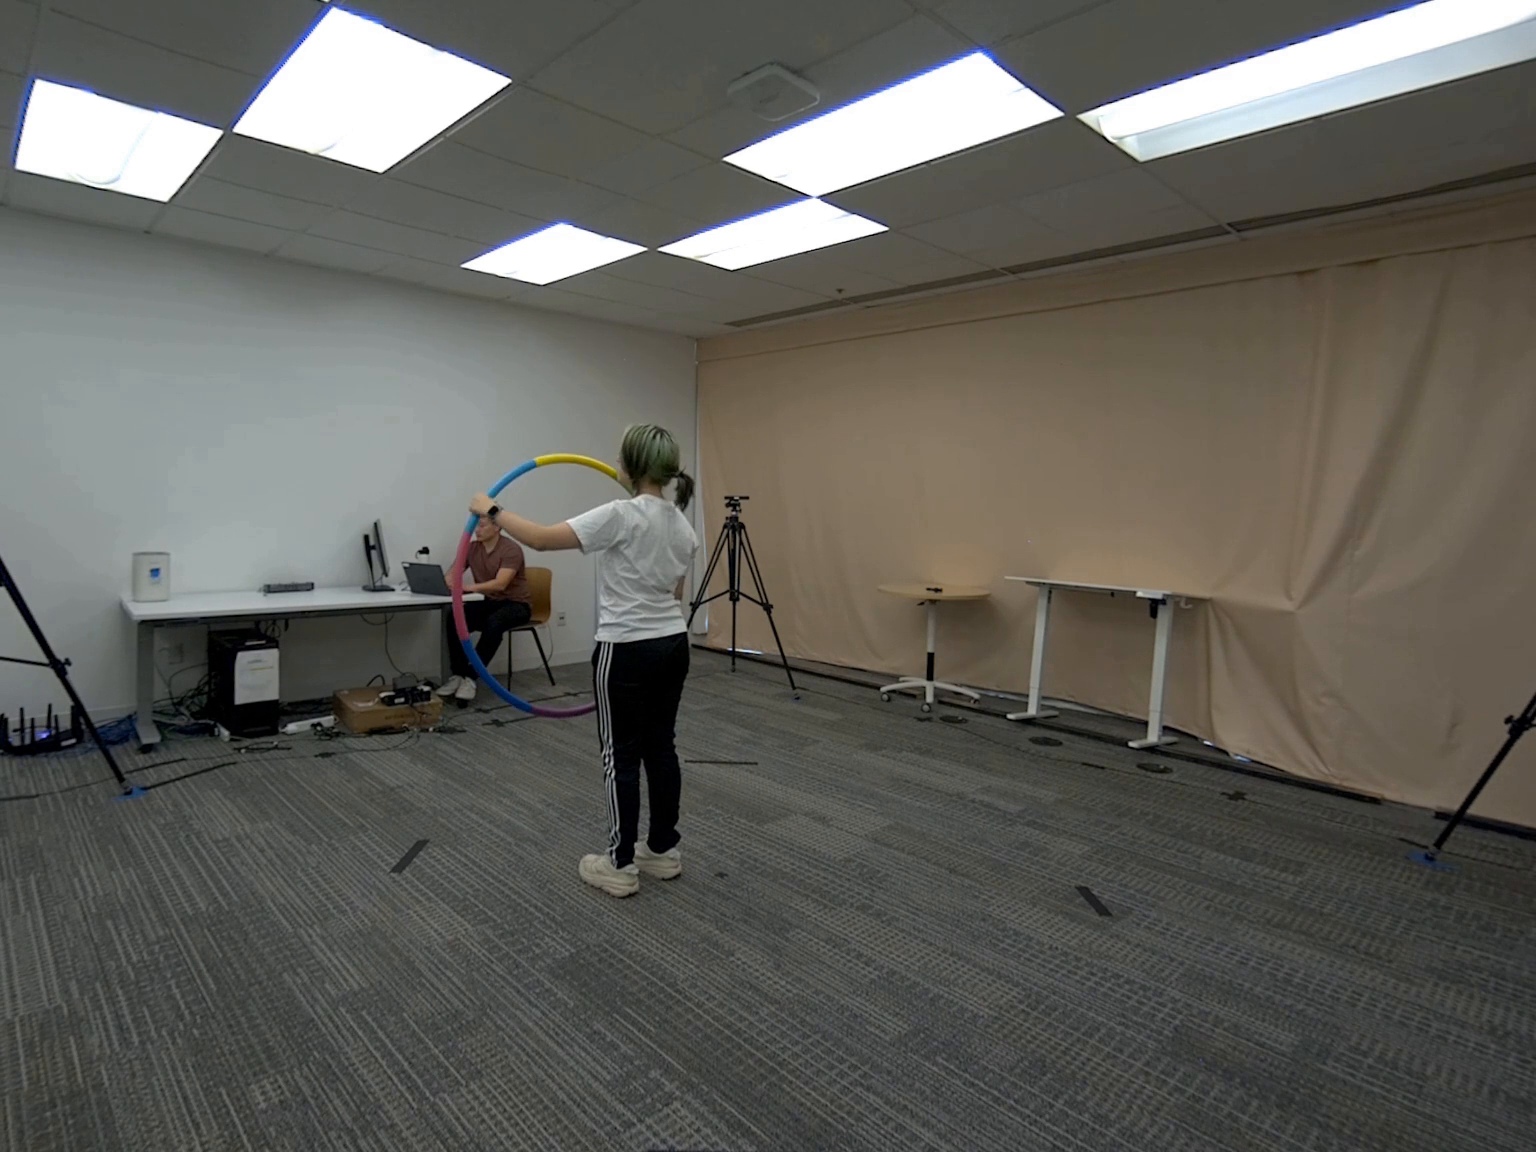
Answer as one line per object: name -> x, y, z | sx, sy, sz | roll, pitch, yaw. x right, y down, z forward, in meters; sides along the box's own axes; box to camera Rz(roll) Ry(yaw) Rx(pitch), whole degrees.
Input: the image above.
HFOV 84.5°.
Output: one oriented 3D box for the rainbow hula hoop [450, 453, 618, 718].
rainbow hula hoop -> -0.737, 0.036, 3.175 | 0.036, 0.979, 0.956 | -3, 0, 43
